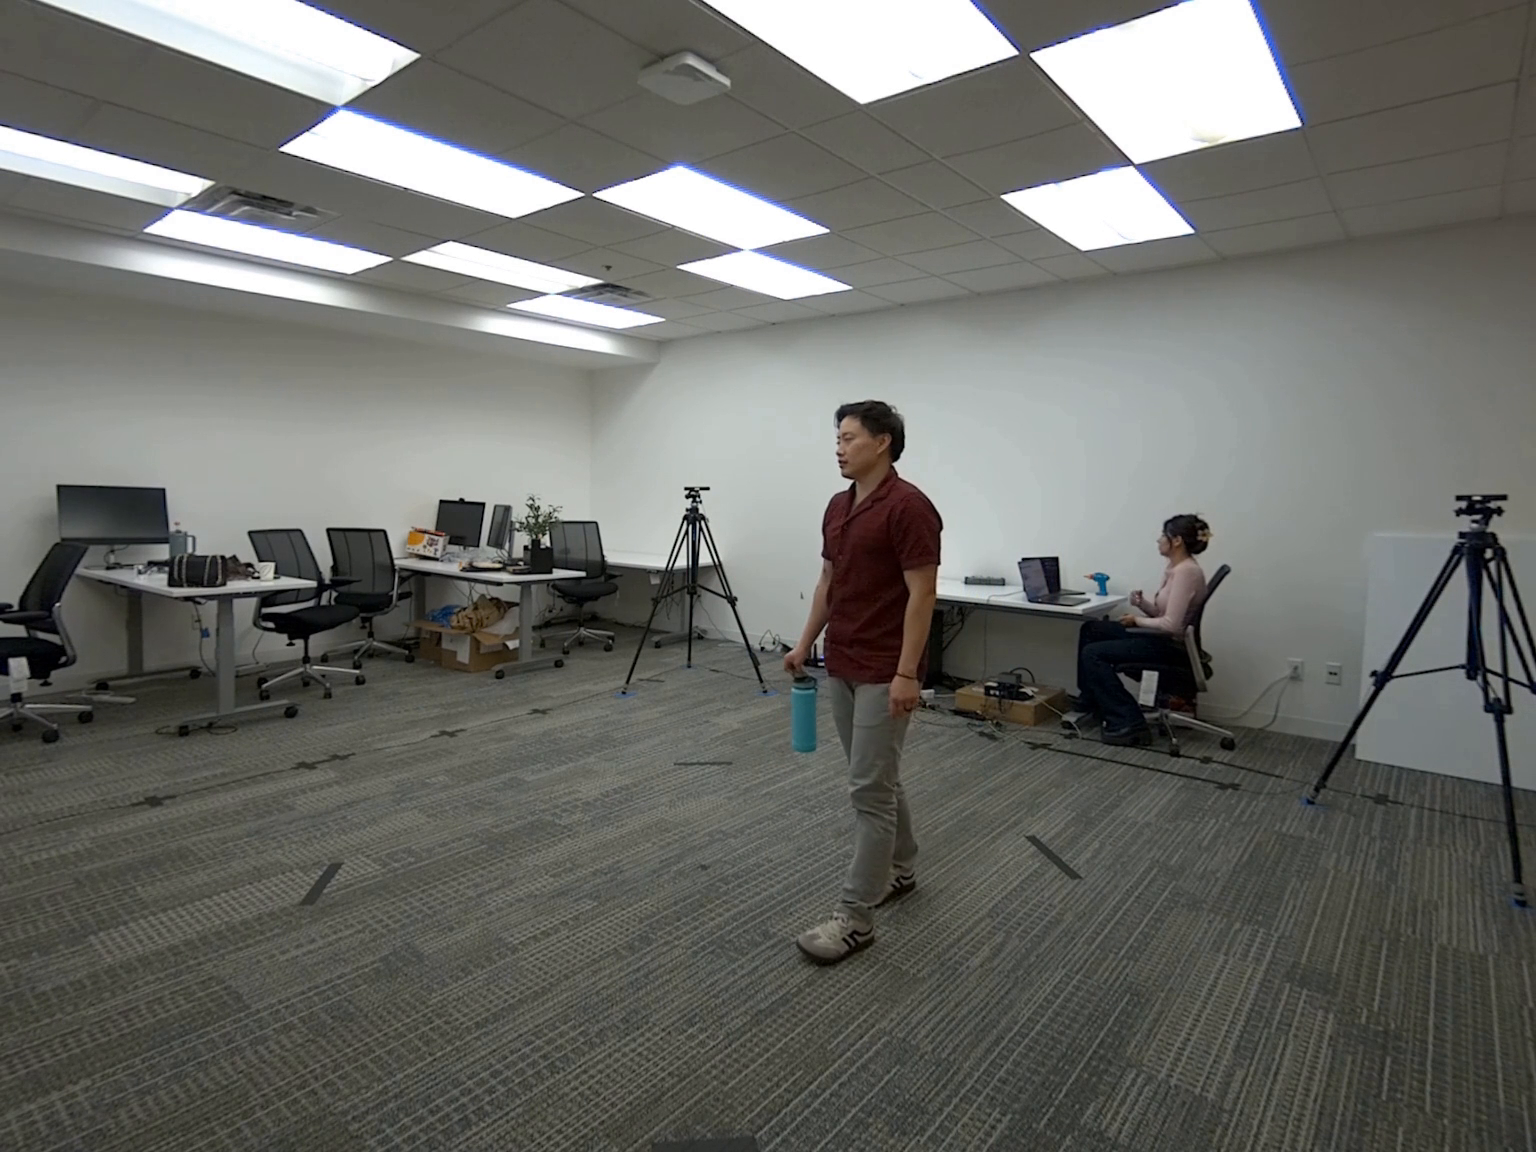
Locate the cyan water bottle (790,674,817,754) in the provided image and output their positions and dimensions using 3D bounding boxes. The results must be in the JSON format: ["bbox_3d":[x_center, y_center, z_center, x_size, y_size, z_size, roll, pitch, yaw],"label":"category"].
[{"bbox_3d":[0.120,0.478,3.043,0.092,0.282,0.093,-1,6,-2],"label":"cyan water bottle"}]
